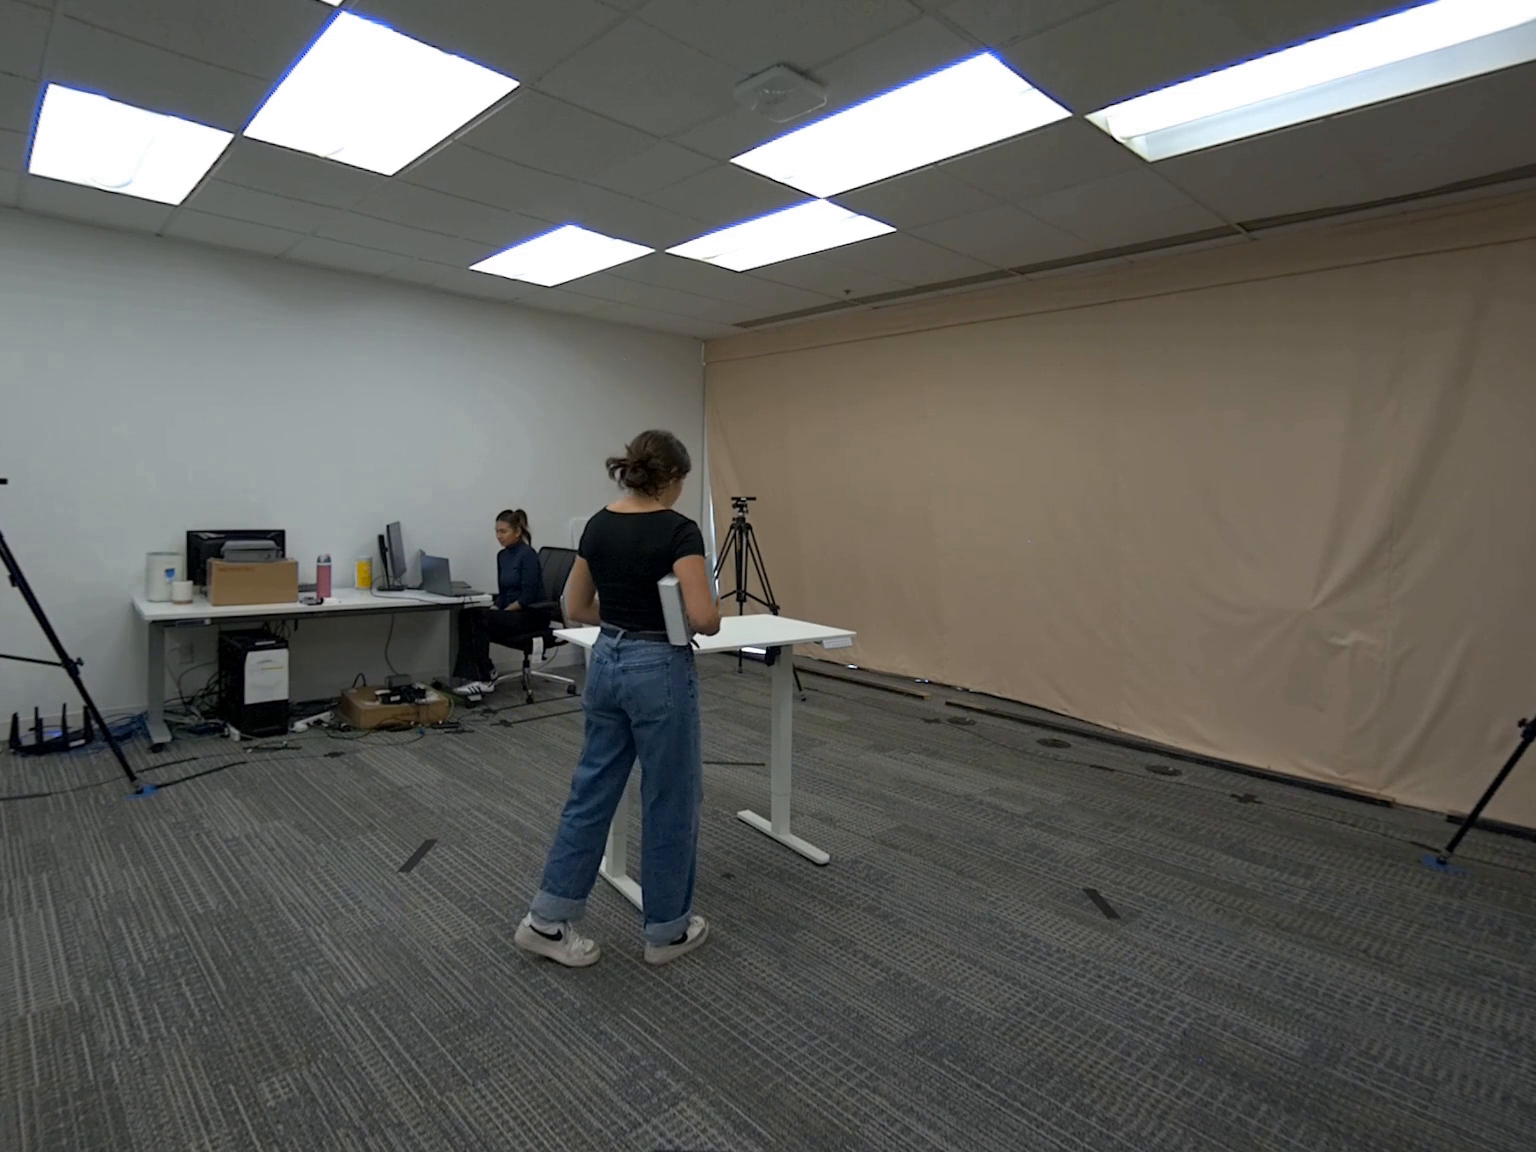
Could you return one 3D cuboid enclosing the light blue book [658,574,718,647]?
[{"bbox_3d":[-0.227,0.061,2.449,0.060,0.188,0.261,-5,19,18],"label":"light blue book"}]
